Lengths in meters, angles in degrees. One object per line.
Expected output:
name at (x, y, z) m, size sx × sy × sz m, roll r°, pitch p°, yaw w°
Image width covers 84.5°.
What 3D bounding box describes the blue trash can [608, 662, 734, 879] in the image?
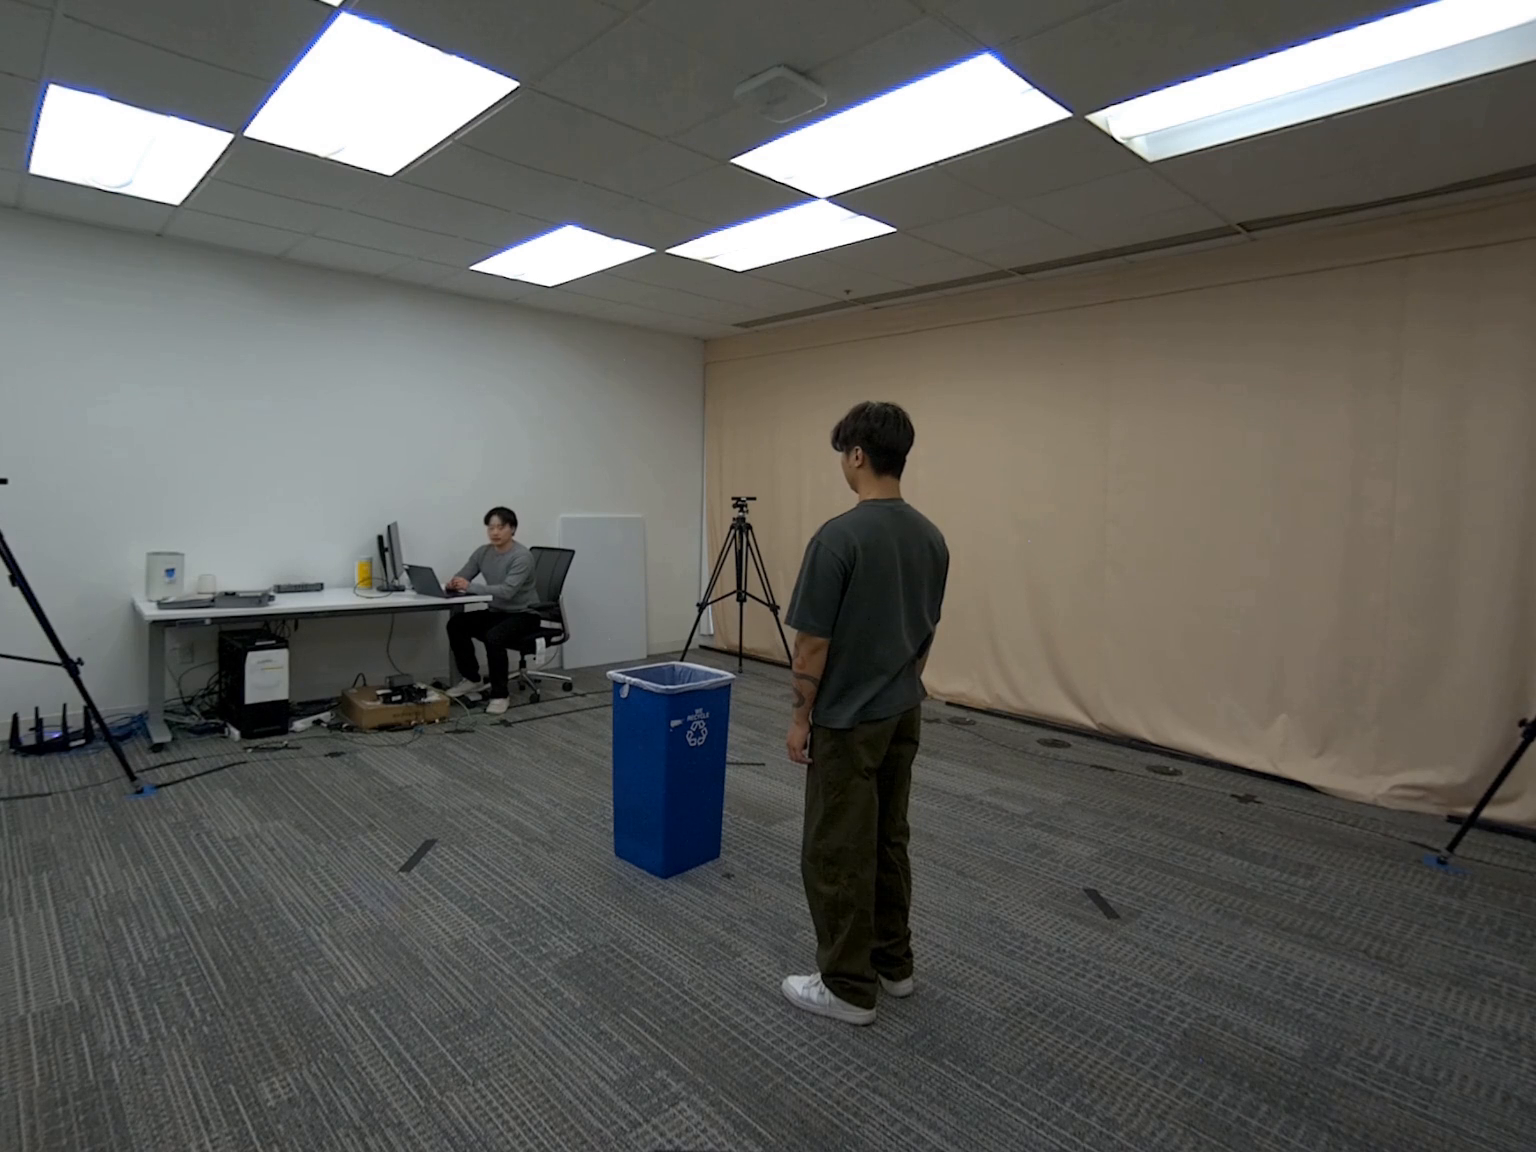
blue trash can at (-0.394, 0.730, 3.253) m, size 0.384 × 0.712 × 0.369 m, roll 6°, pitch 5°, yaw 42°
